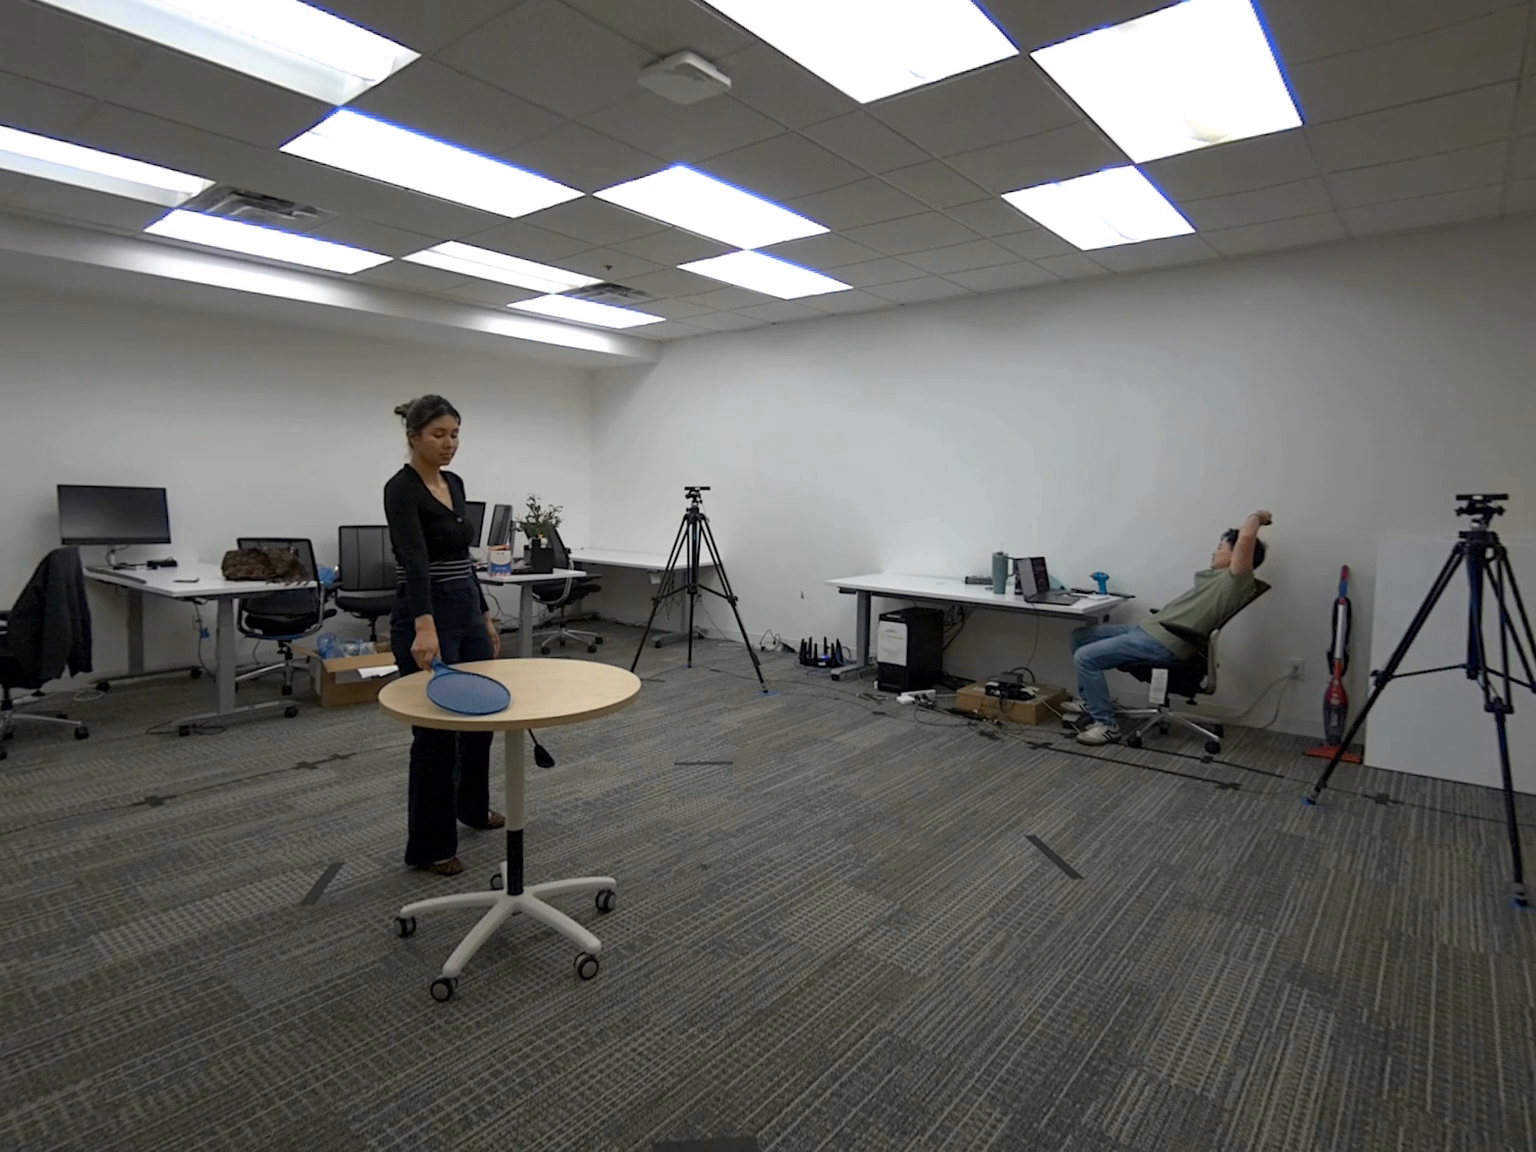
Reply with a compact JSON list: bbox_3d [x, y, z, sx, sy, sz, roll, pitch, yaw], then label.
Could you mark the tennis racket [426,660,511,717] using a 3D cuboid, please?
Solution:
[{"bbox_3d":[-0.870,0.293,2.407,0.207,0.031,0.451,-5,21,-40],"label":"tennis racket"}]
